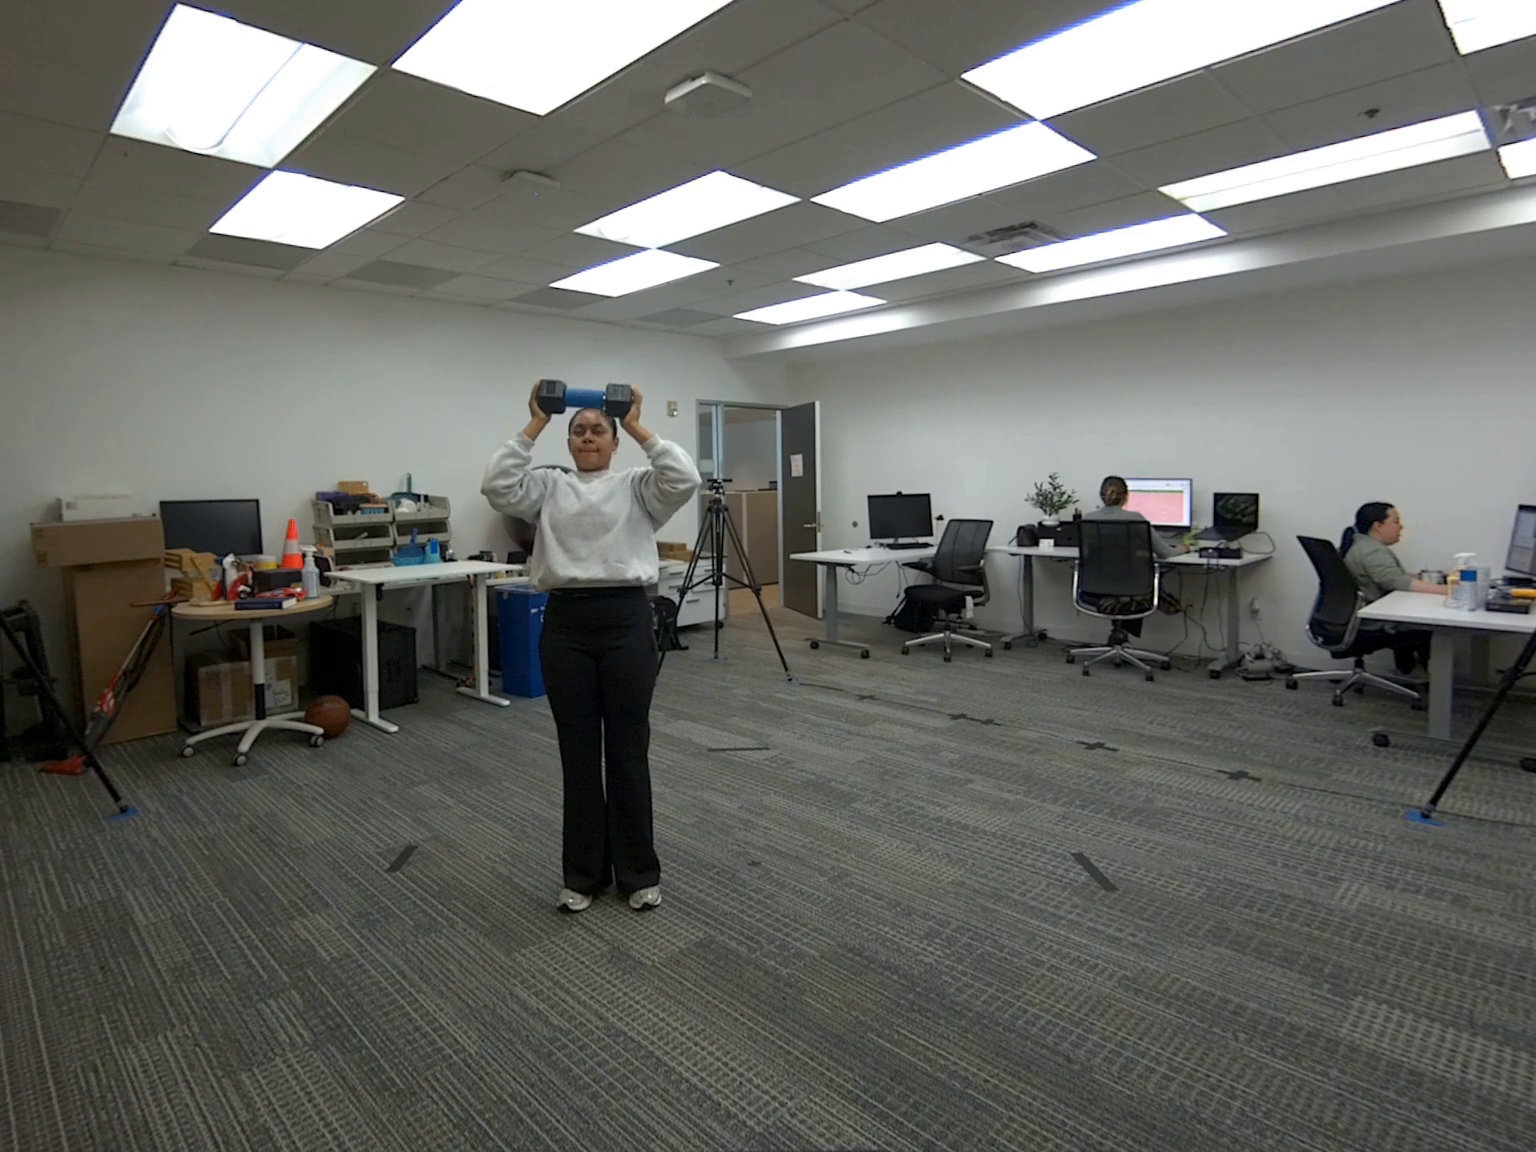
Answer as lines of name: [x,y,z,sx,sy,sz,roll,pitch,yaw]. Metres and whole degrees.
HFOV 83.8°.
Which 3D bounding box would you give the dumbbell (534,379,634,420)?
dumbbell: [-0.578,-0.572,2.734,0.294,0.120,0.111,3,43,1]
